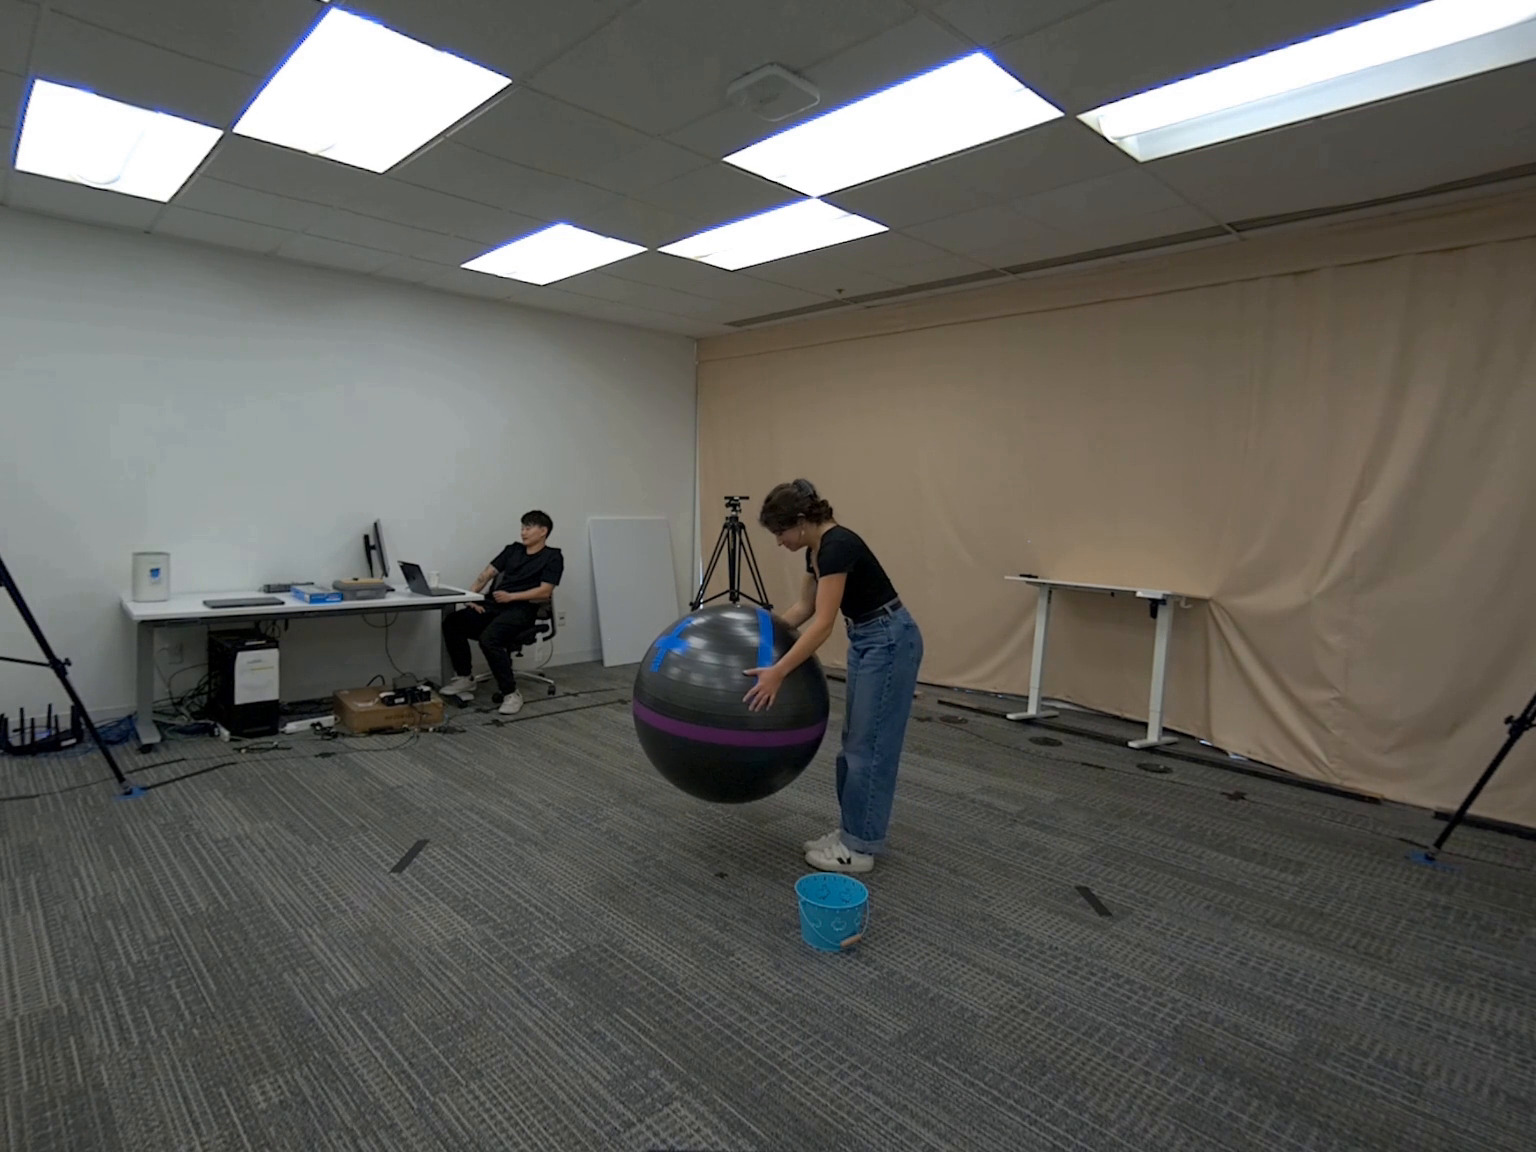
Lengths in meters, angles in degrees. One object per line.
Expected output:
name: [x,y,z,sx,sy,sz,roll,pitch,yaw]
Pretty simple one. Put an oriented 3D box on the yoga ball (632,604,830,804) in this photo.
yoga ball: [-0.155,0.493,3.268,0.757,0.756,0.761,1,4,-1]
